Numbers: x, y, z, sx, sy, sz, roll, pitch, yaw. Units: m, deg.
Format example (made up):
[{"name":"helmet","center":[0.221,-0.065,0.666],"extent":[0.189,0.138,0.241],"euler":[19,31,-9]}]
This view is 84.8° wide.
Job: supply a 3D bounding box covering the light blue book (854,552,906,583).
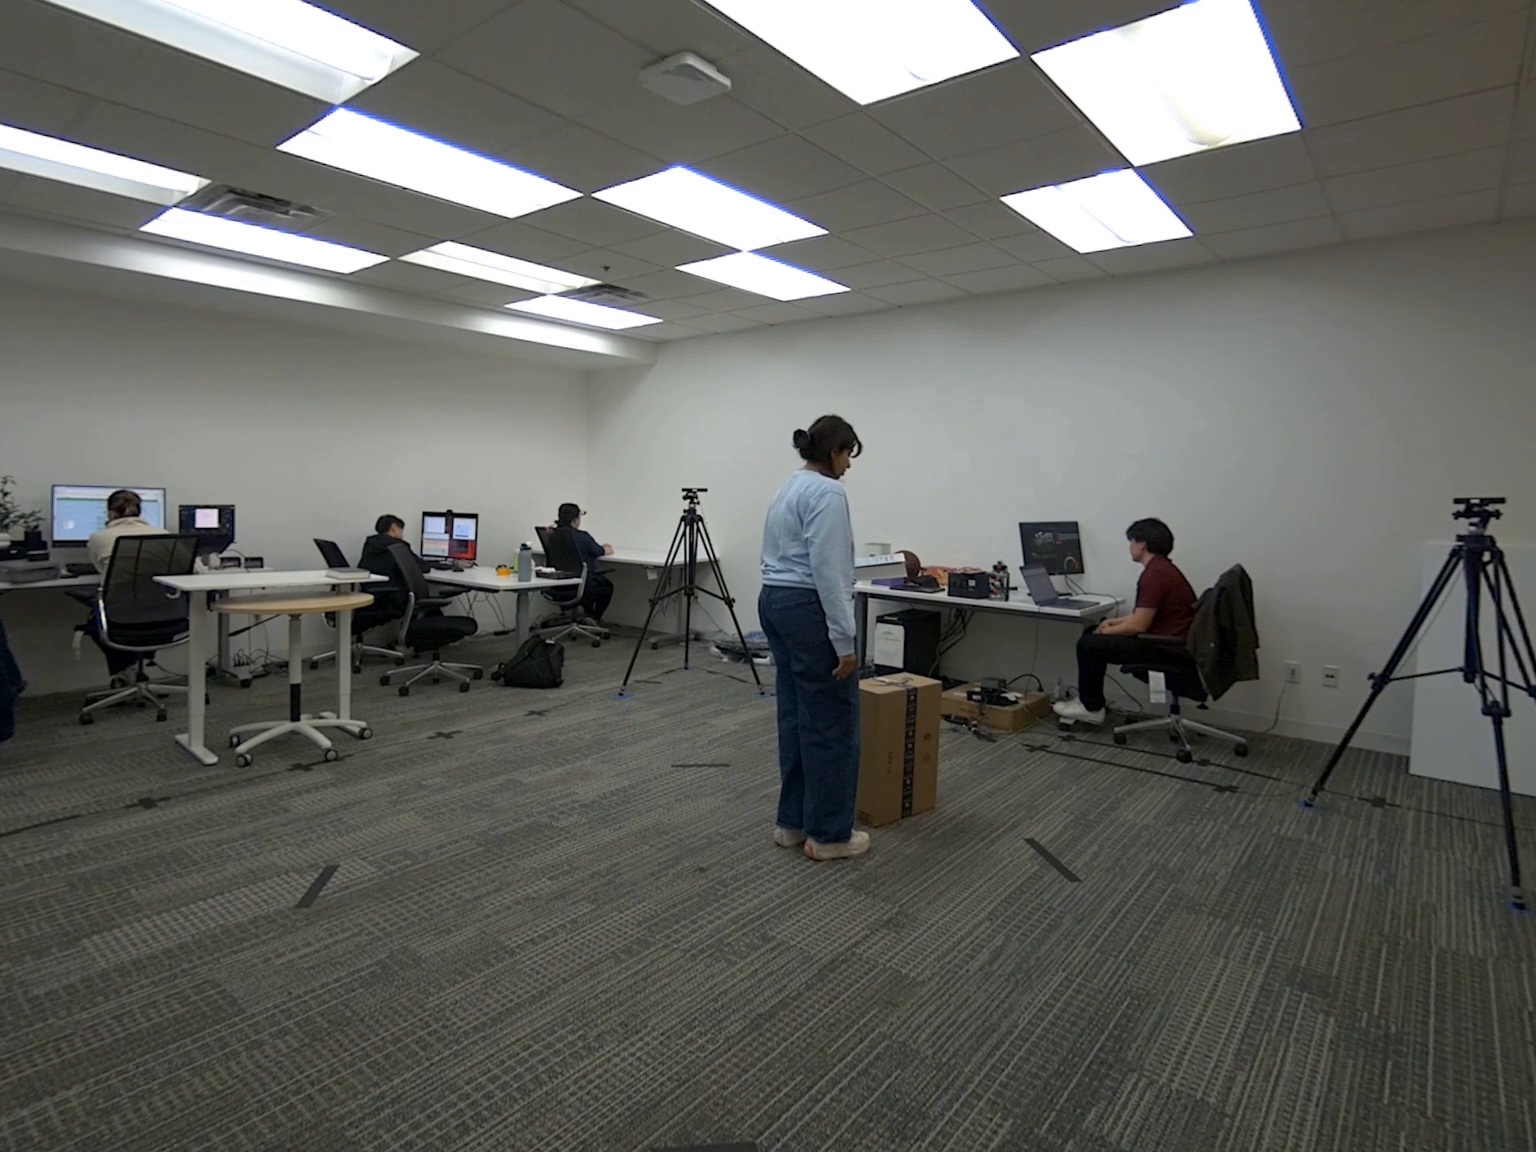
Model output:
[{"name":"light blue book","center":[0.436,-0.039,3.525],"extent":[0.262,0.058,0.192],"euler":[-6,11,5]}]
